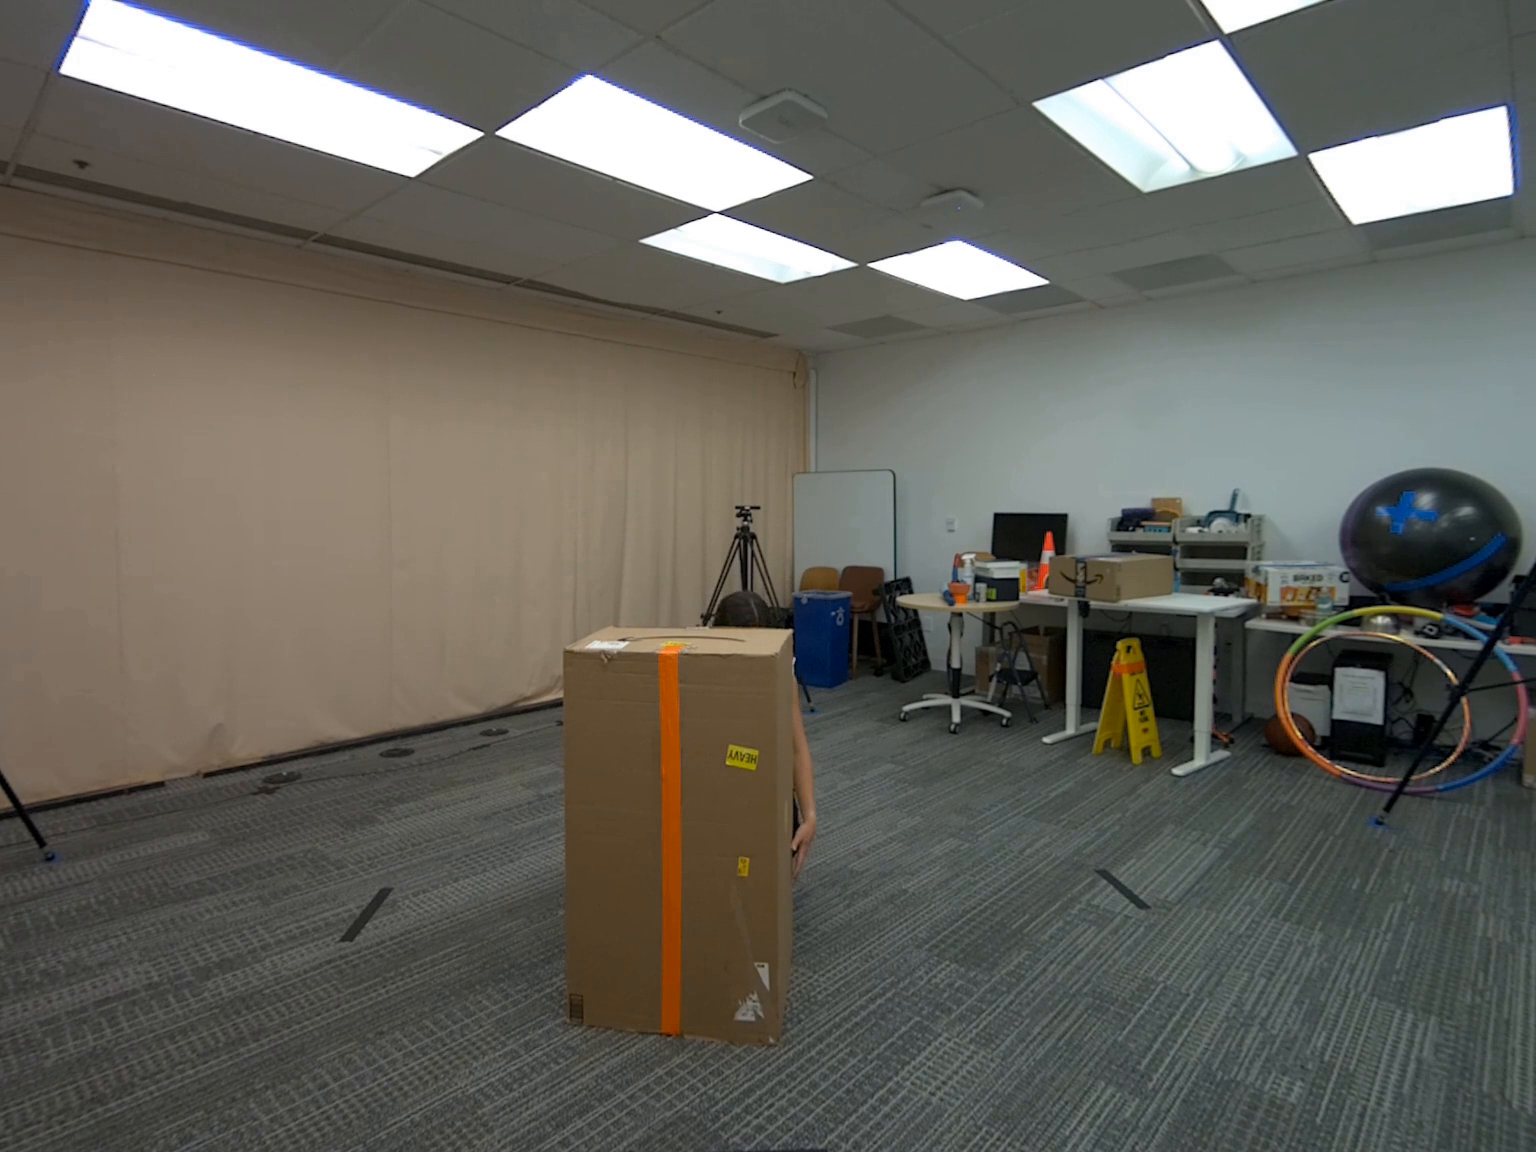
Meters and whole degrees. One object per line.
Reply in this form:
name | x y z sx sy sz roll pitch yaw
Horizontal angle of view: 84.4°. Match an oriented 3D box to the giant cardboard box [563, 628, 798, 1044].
giant cardboard box | -0.235 0.691 2.386 0.584 1.023 0.423 0 4 9
